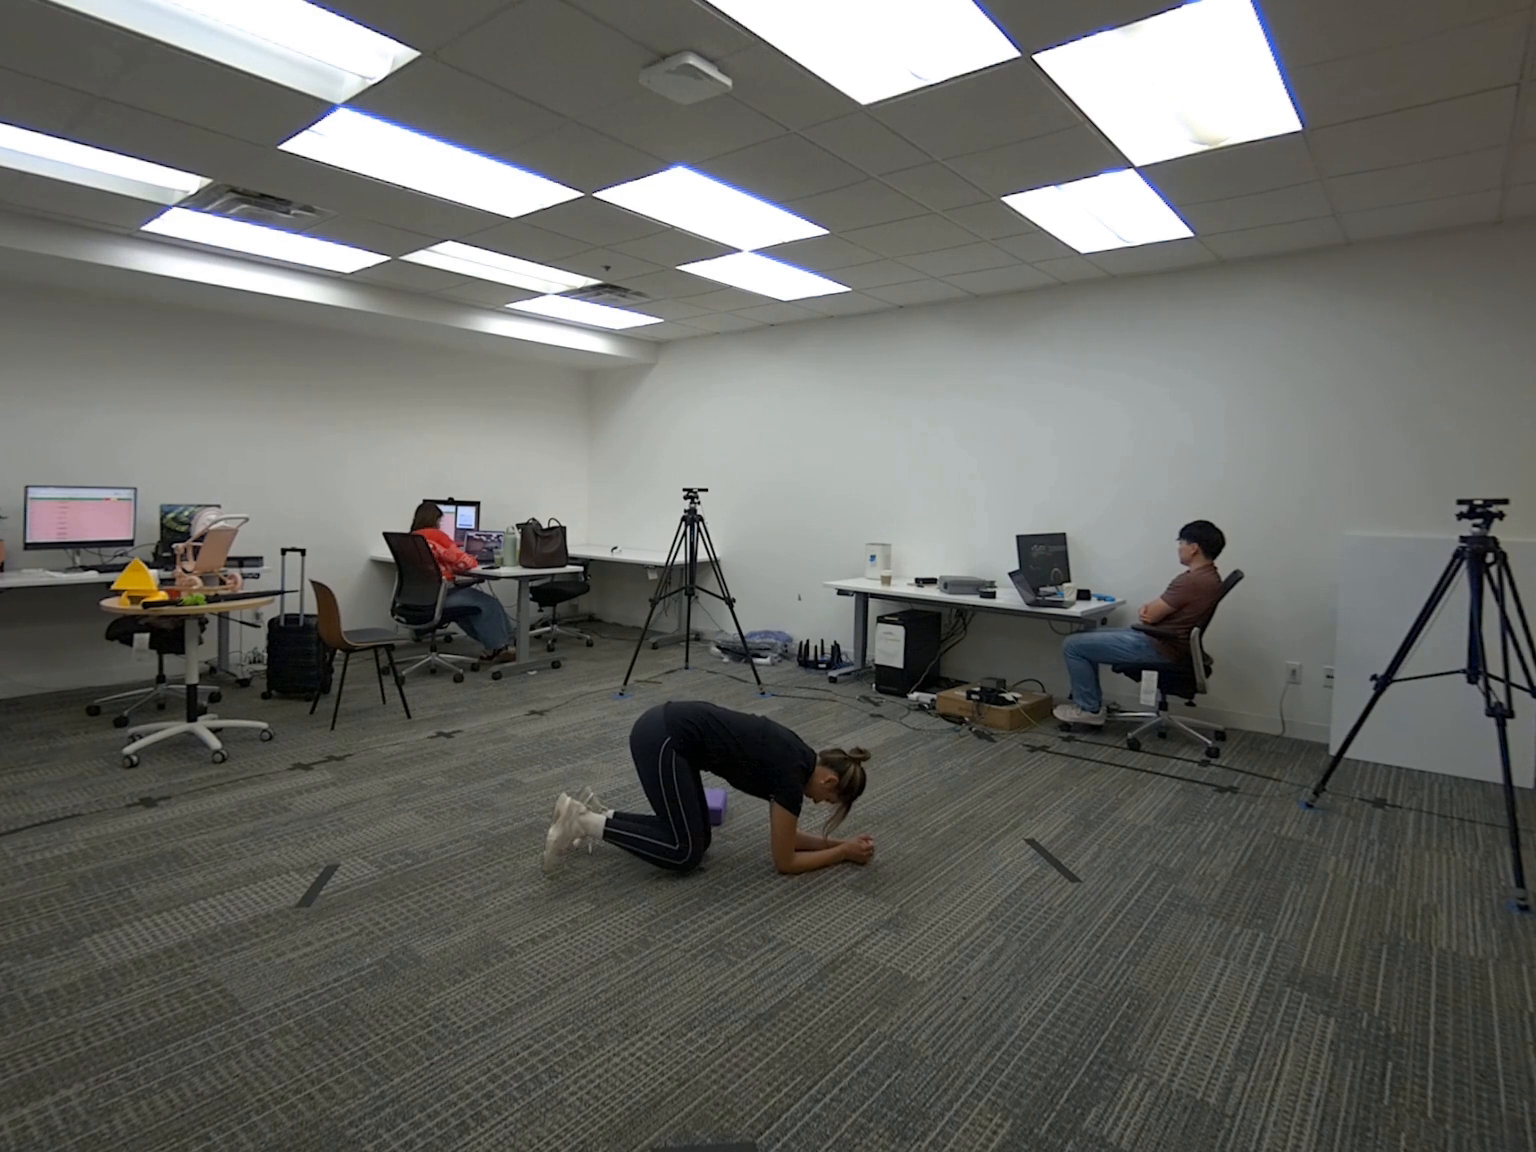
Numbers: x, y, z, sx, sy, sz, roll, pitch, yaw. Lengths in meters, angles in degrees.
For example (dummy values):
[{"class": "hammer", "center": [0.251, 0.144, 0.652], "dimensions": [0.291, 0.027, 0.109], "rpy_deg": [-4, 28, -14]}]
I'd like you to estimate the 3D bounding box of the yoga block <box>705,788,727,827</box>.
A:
[{"class": "yoga block", "center": [-0.270, 0.975, 3.632], "dimensions": [0.150, 0.076, 0.229], "rpy_deg": [1, 7, 4]}]
